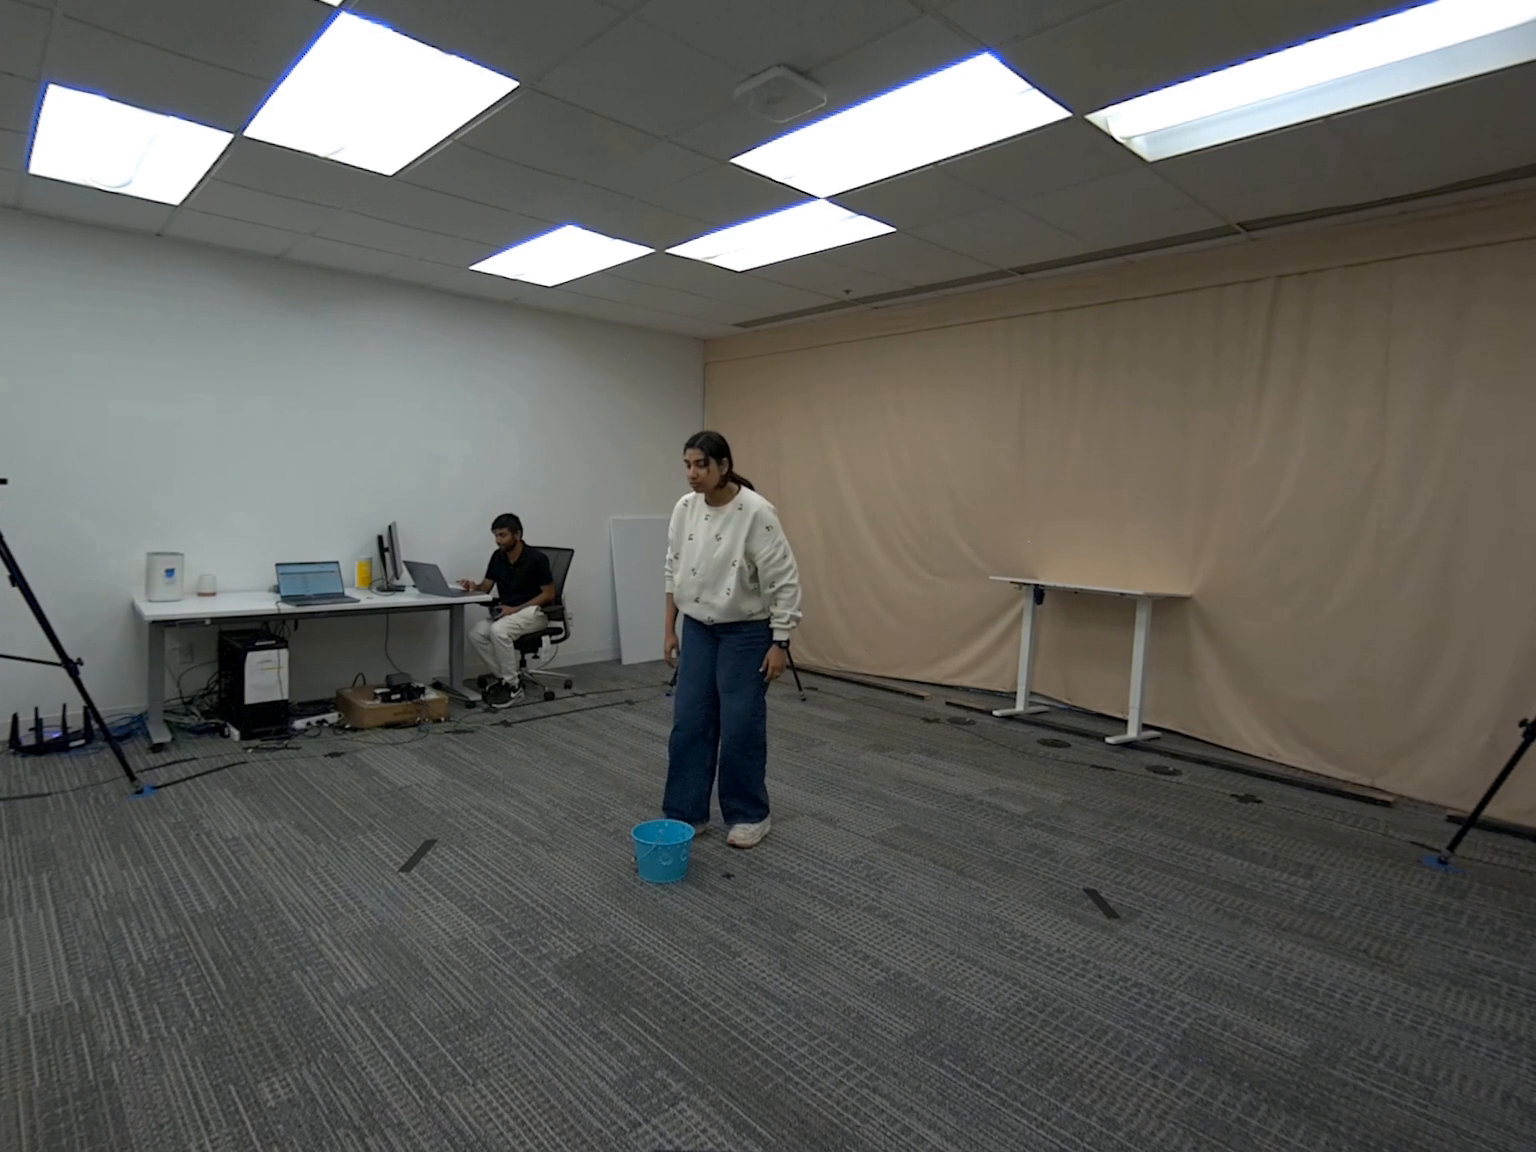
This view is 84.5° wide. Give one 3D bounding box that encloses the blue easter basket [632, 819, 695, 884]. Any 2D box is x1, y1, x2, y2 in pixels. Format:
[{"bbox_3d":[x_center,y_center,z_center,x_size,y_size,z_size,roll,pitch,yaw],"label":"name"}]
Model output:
[{"bbox_3d":[-0.400,1.019,3.125,0.243,0.155,0.244,2,5,-1],"label":"blue easter basket"}]
